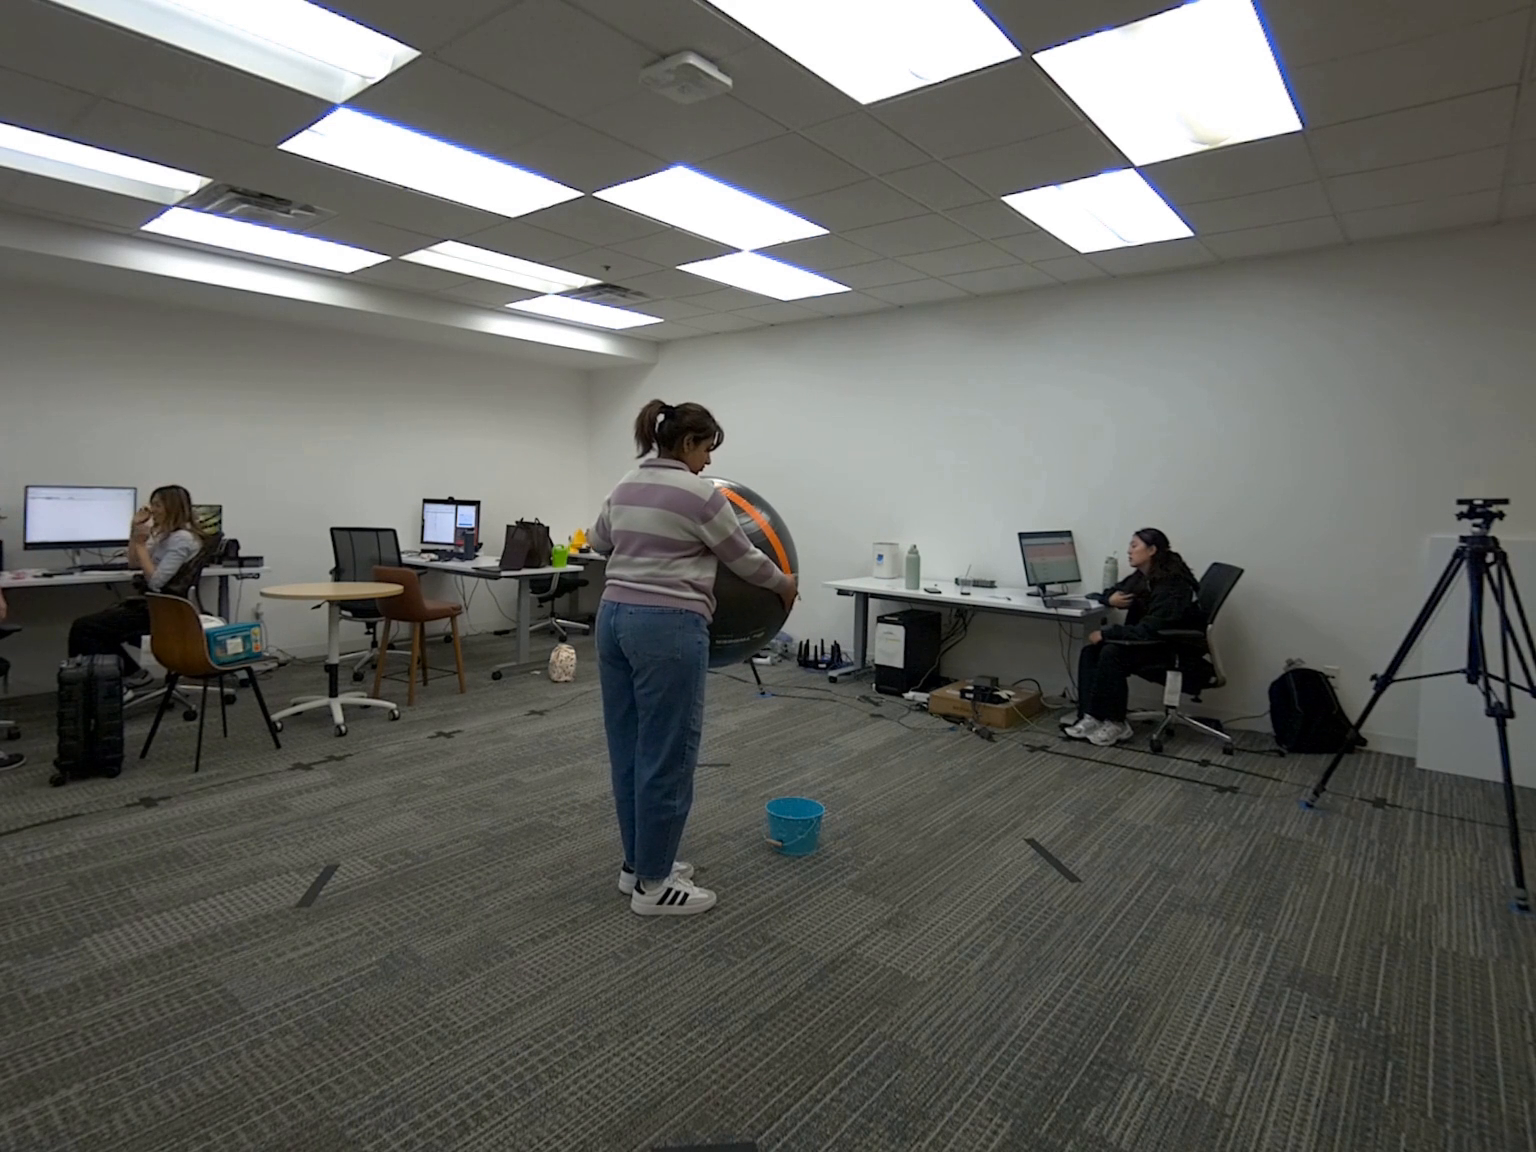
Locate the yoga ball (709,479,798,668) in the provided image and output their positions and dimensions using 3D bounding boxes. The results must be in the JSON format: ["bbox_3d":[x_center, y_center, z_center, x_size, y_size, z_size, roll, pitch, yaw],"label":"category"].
[{"bbox_3d":[-0.260,-0.013,3.374,0.757,0.756,0.762,1,4,-2],"label":"yoga ball"}]
